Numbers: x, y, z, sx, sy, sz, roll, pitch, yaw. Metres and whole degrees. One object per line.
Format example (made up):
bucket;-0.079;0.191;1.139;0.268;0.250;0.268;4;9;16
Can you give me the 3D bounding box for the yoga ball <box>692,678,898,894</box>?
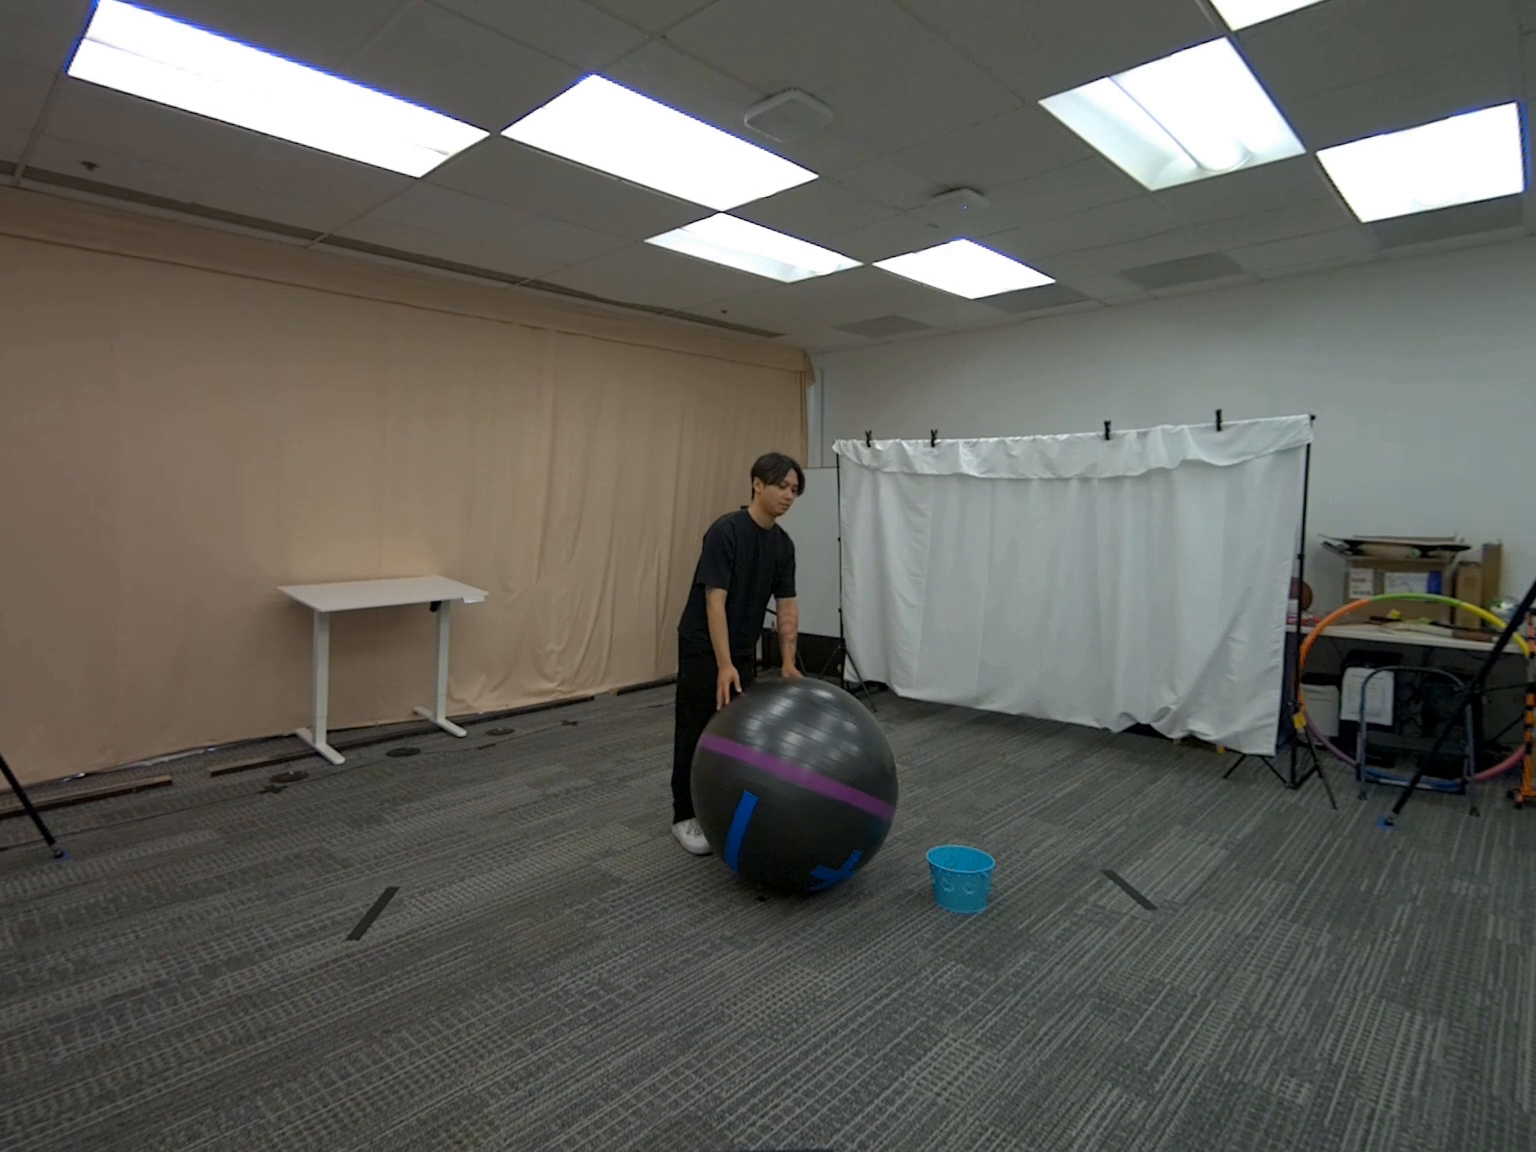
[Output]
yoga ball;0.103;0.762;3.109;0.757;0.756;0.760;0;4;-2
